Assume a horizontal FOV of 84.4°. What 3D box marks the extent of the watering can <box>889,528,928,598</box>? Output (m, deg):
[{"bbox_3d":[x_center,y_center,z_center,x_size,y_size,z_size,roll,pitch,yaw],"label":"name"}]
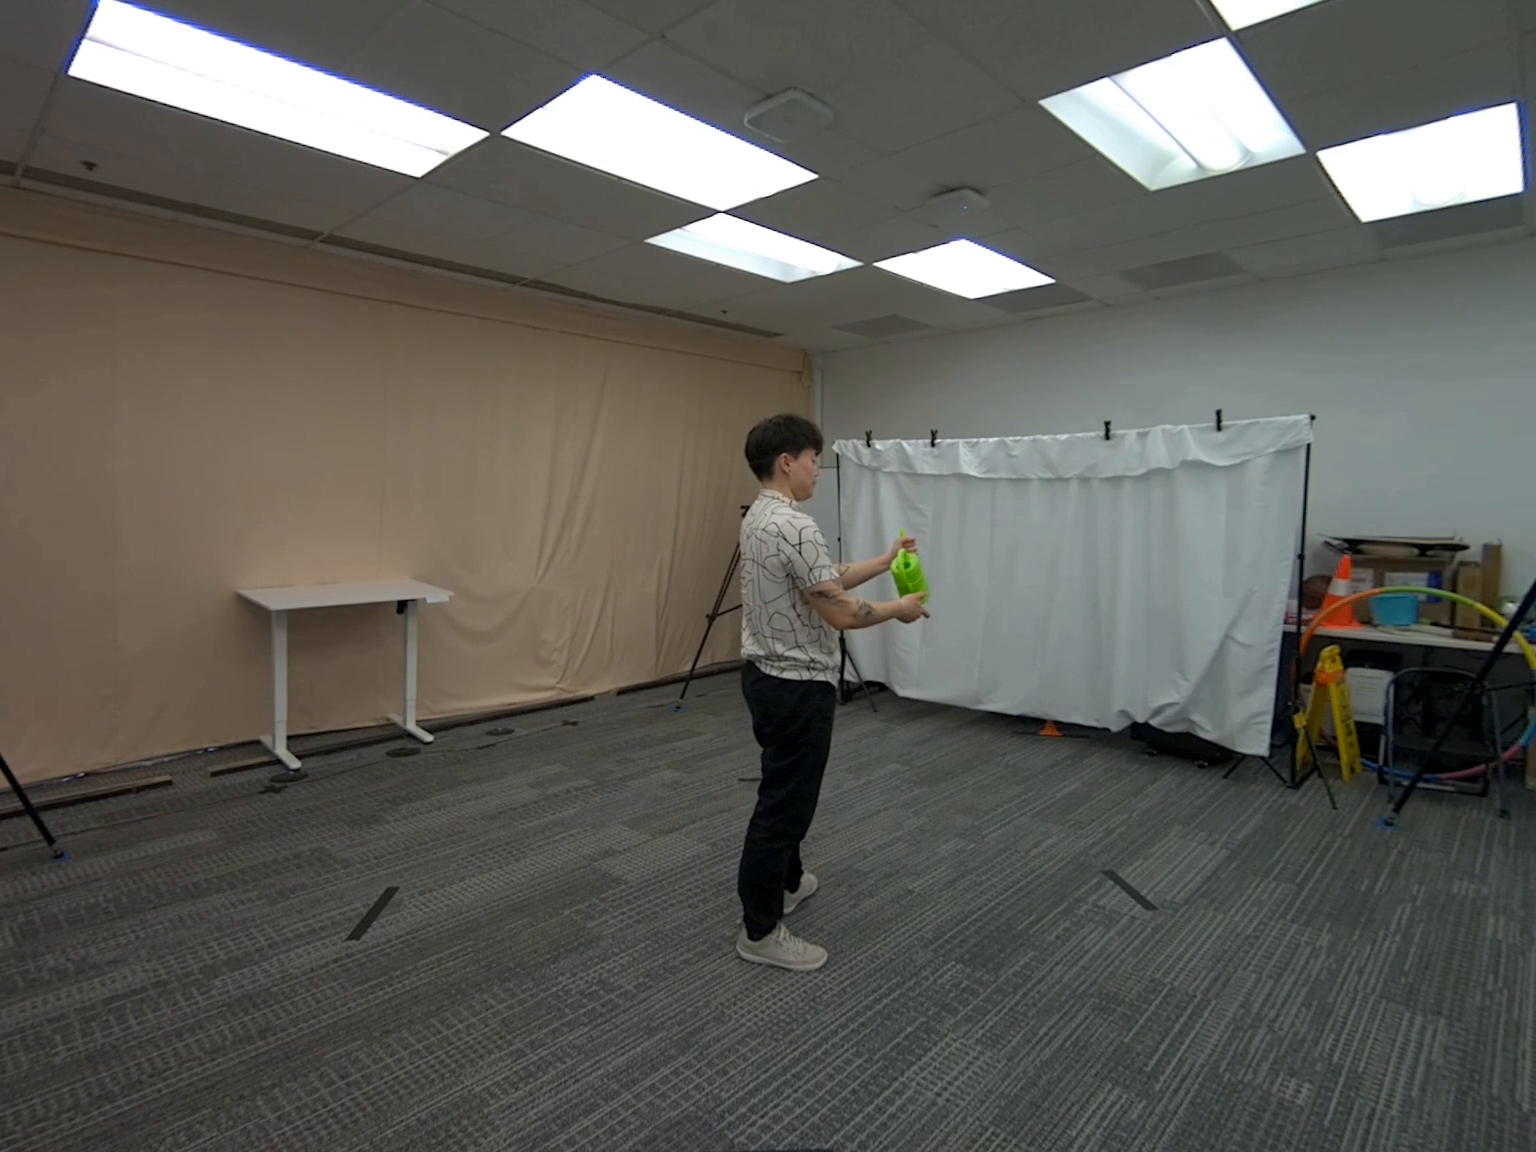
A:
[{"bbox_3d":[0.474,-0.023,2.730,0.100,0.173,0.277,-9,29,29],"label":"watering can"}]
